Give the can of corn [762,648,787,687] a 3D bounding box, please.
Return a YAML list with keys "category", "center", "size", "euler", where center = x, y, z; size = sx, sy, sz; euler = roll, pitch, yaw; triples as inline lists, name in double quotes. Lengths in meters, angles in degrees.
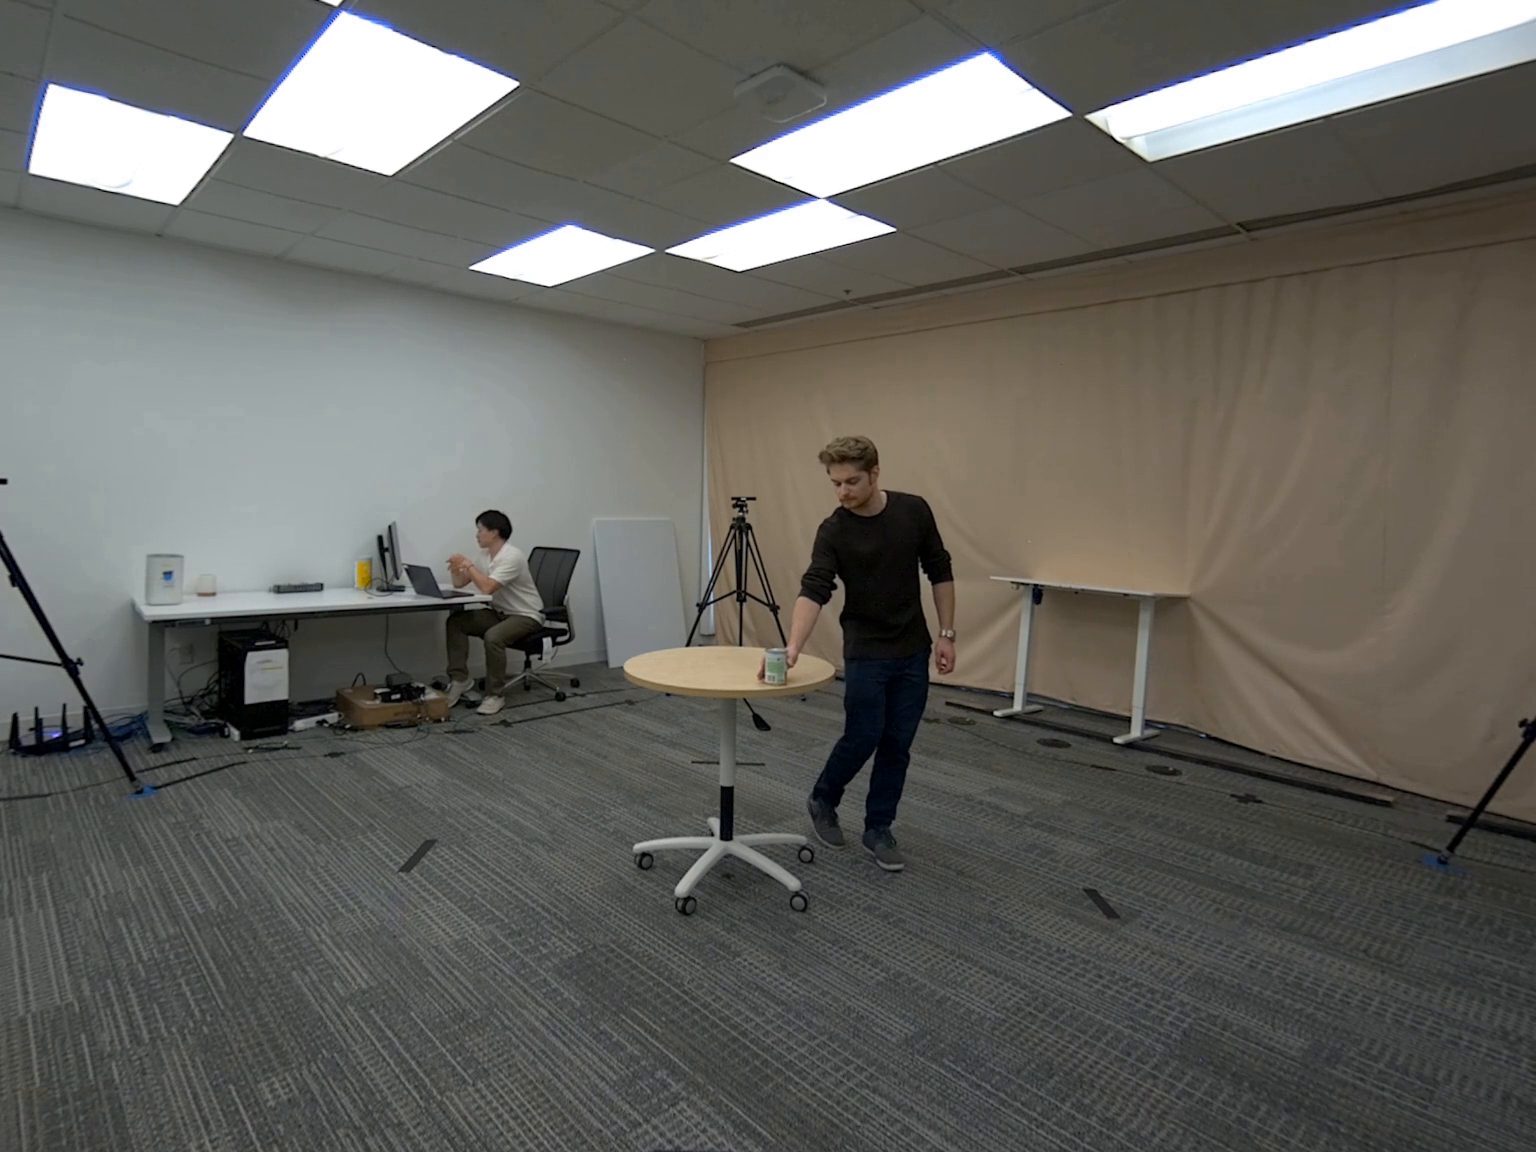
- category: "can of corn"
  center: [0.018, 0.301, 2.769]
  size: [0.074, 0.111, 0.074]
  euler: [2, 5, -2]
